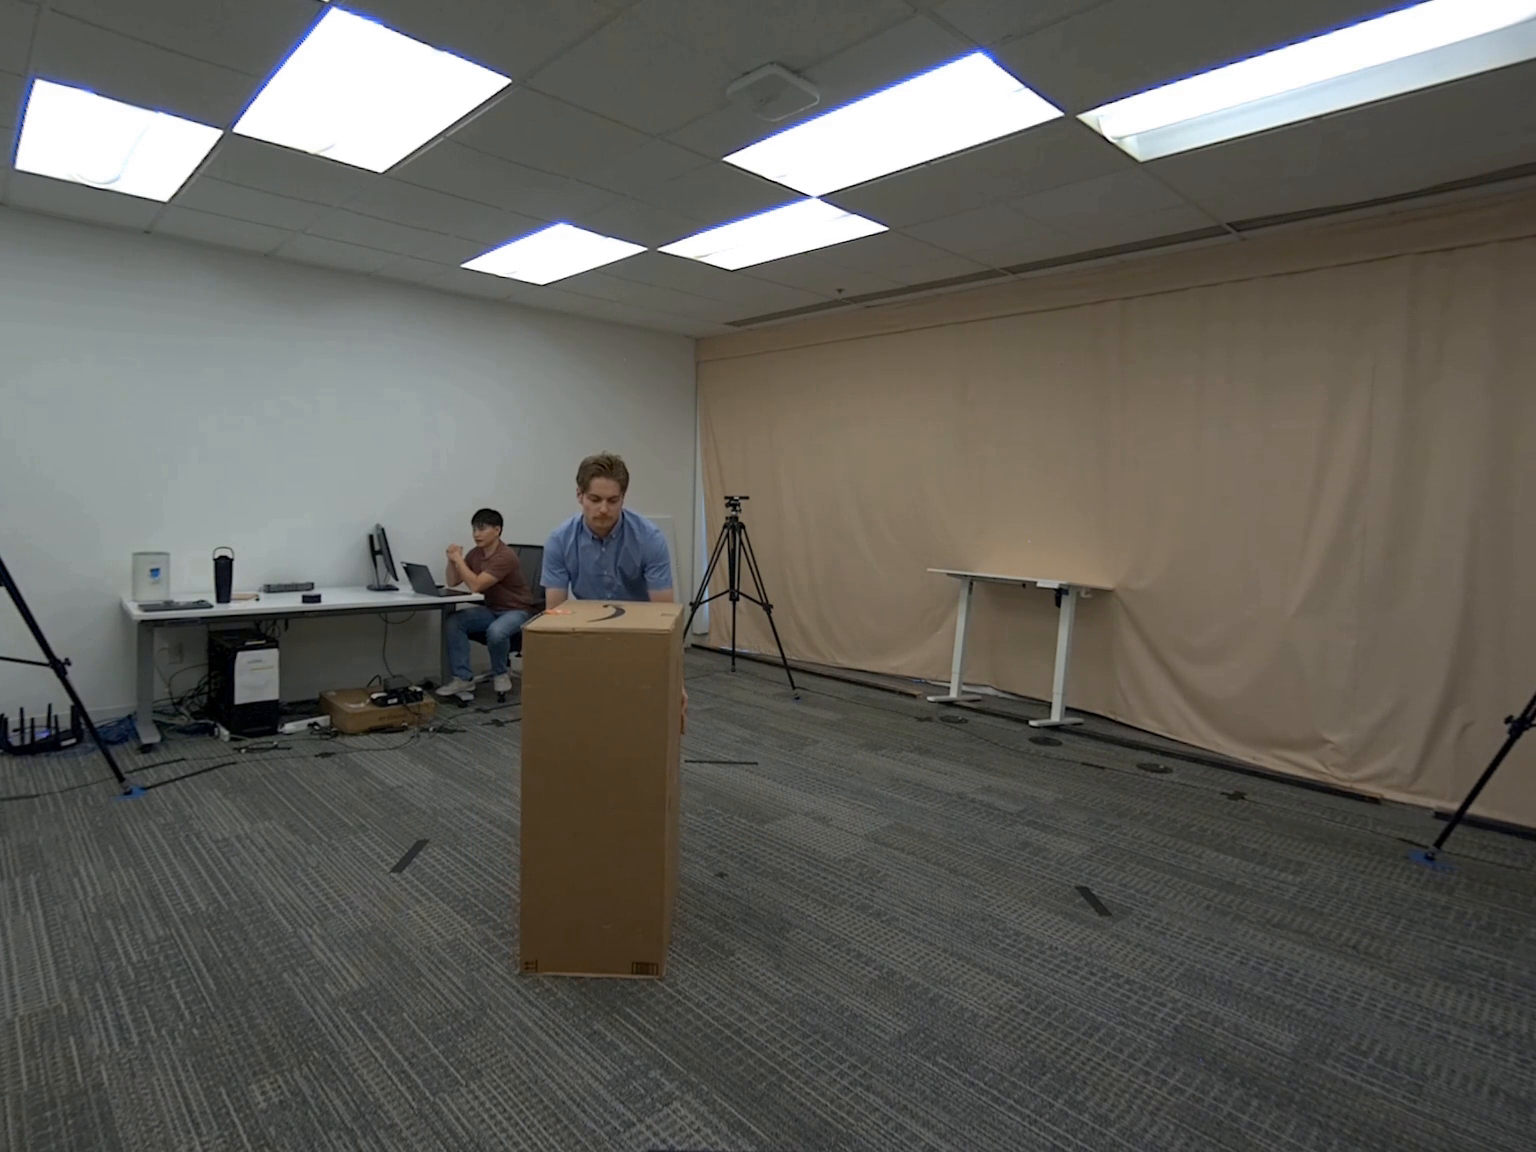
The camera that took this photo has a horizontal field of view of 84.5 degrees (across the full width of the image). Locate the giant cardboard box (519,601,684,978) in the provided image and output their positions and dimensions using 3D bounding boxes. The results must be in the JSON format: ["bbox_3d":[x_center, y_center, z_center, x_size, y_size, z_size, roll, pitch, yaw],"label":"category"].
[{"bbox_3d":[-0.517,0.626,2.672,0.426,1.023,0.579,2,4,0],"label":"giant cardboard box"}]
